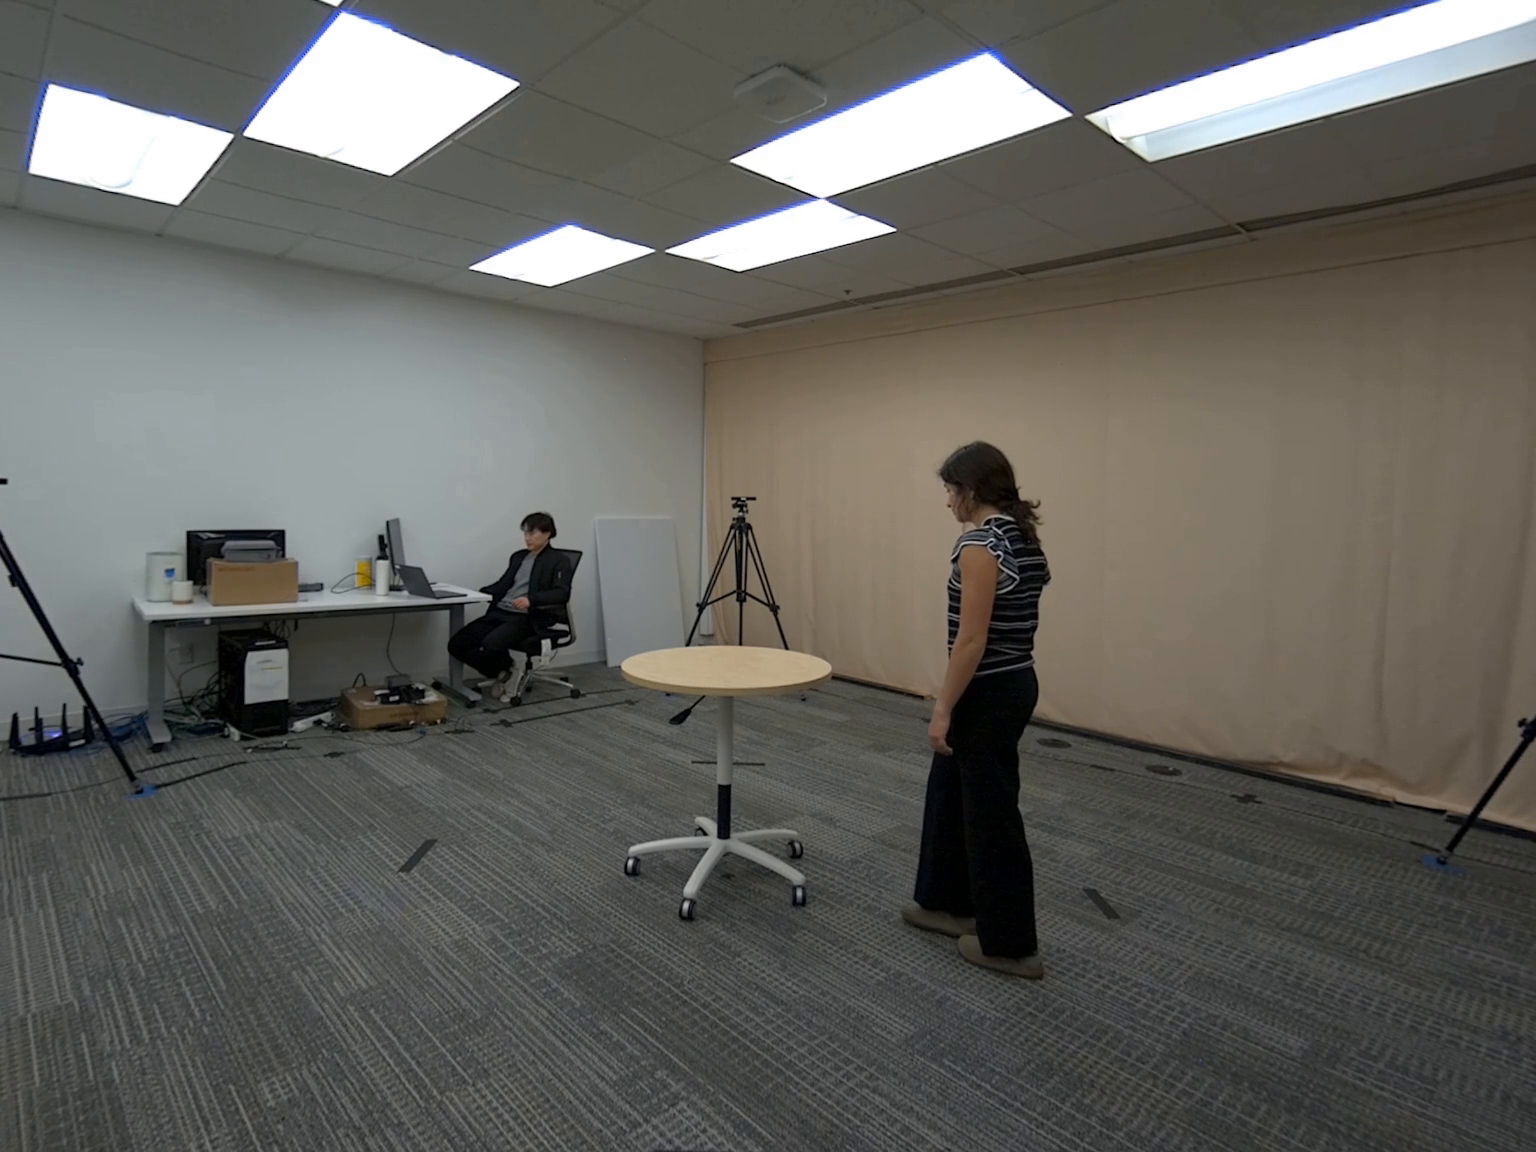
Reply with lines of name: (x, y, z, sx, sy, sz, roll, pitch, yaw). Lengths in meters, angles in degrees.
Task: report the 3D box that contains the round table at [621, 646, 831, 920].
round table: (-0.161, 0.717, 3.093, 0.763, 0.792, 0.767, 1, 4, -1)
